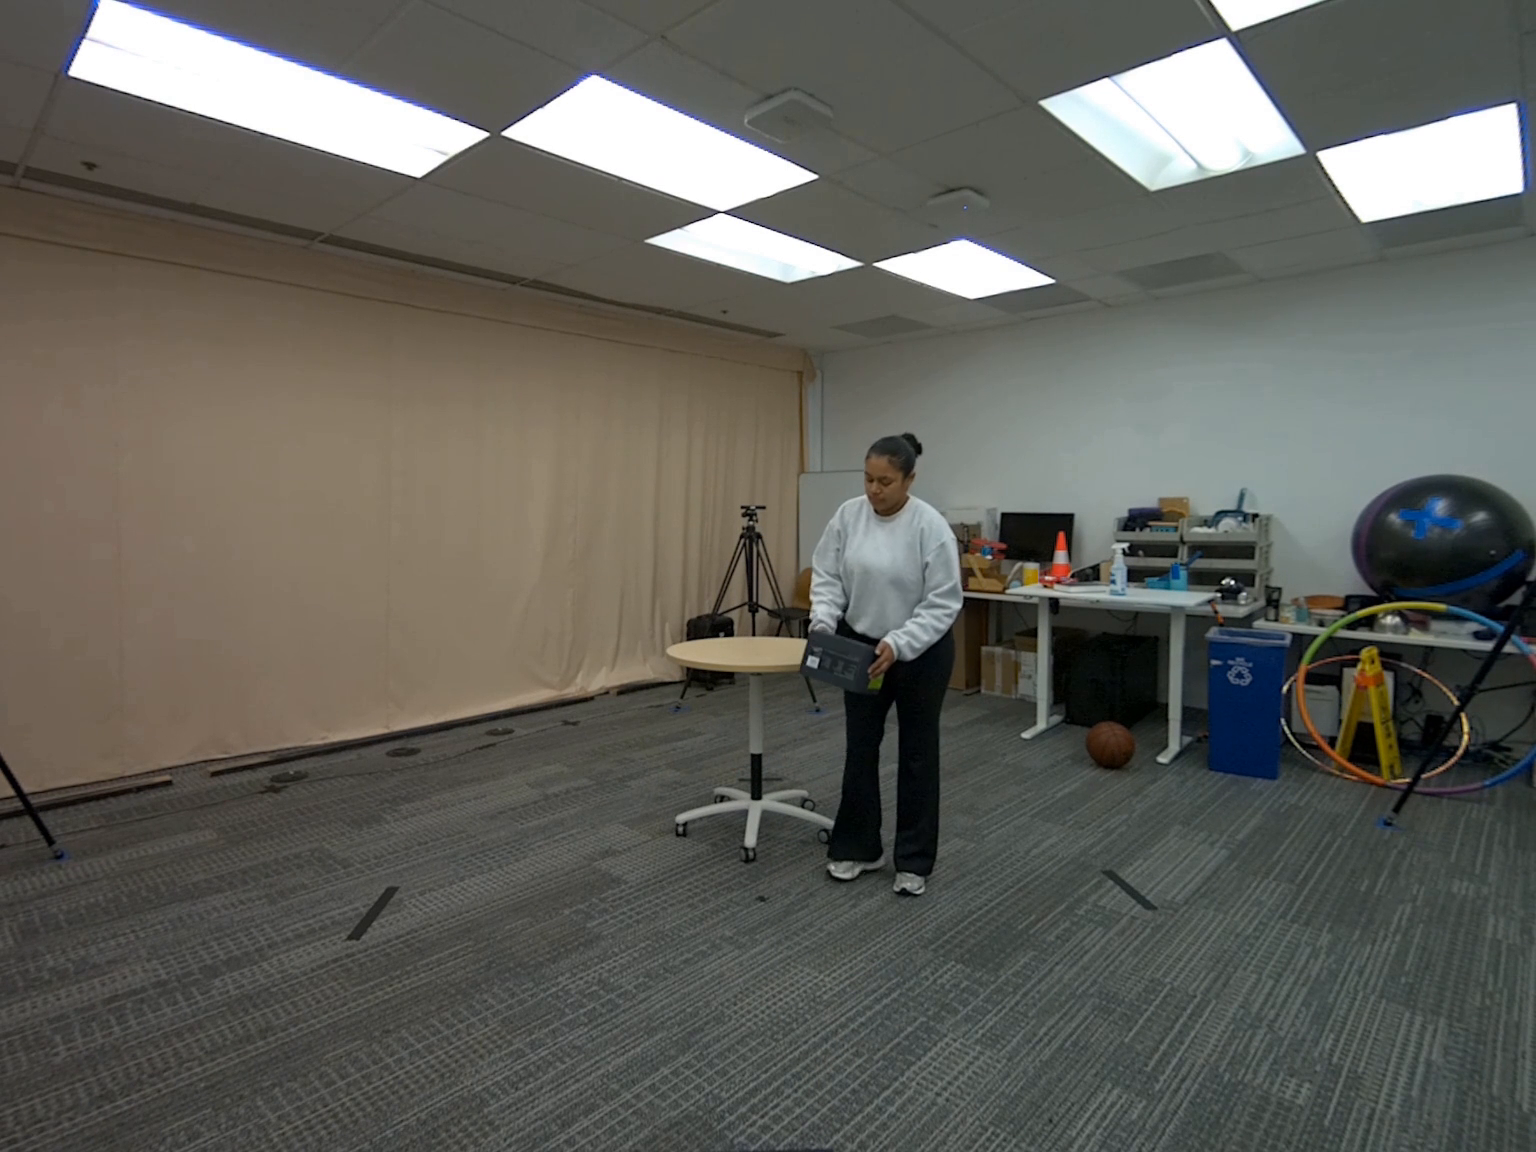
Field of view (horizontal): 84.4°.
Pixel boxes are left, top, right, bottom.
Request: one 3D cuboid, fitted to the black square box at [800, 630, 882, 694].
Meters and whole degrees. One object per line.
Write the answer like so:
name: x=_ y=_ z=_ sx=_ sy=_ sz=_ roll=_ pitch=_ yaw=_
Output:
black square box: x=0.270 y=0.304 z=2.868 sx=0.224 sy=0.156 sz=0.221 roll=14 pitch=-1 yaw=30
